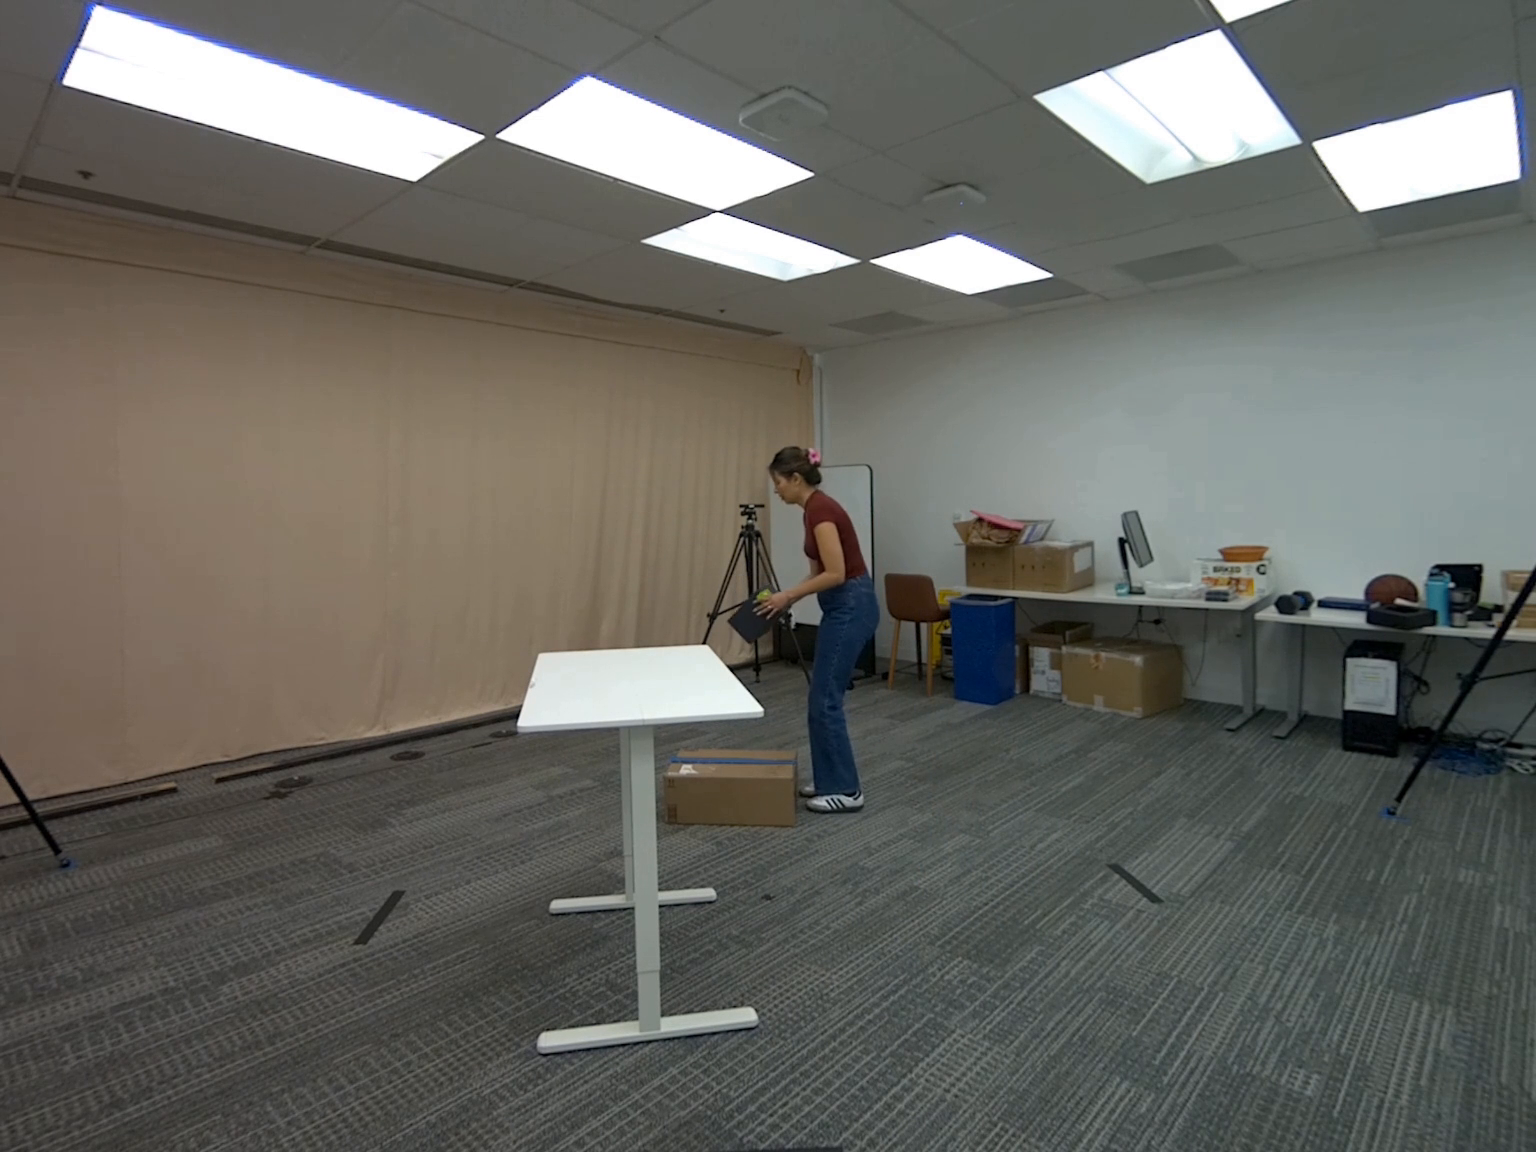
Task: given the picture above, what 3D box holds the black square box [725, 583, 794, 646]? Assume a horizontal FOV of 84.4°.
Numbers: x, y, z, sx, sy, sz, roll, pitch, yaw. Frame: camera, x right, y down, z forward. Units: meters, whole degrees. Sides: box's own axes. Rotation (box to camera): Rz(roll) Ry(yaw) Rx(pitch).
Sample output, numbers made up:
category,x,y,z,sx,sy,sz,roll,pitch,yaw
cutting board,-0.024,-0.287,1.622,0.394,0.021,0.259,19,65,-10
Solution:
category,x,y,z,sx,sy,sz,roll,pitch,yaw
black square box,-0.039,0.174,3.978,0.218,0.158,0.224,-46,-9,15
